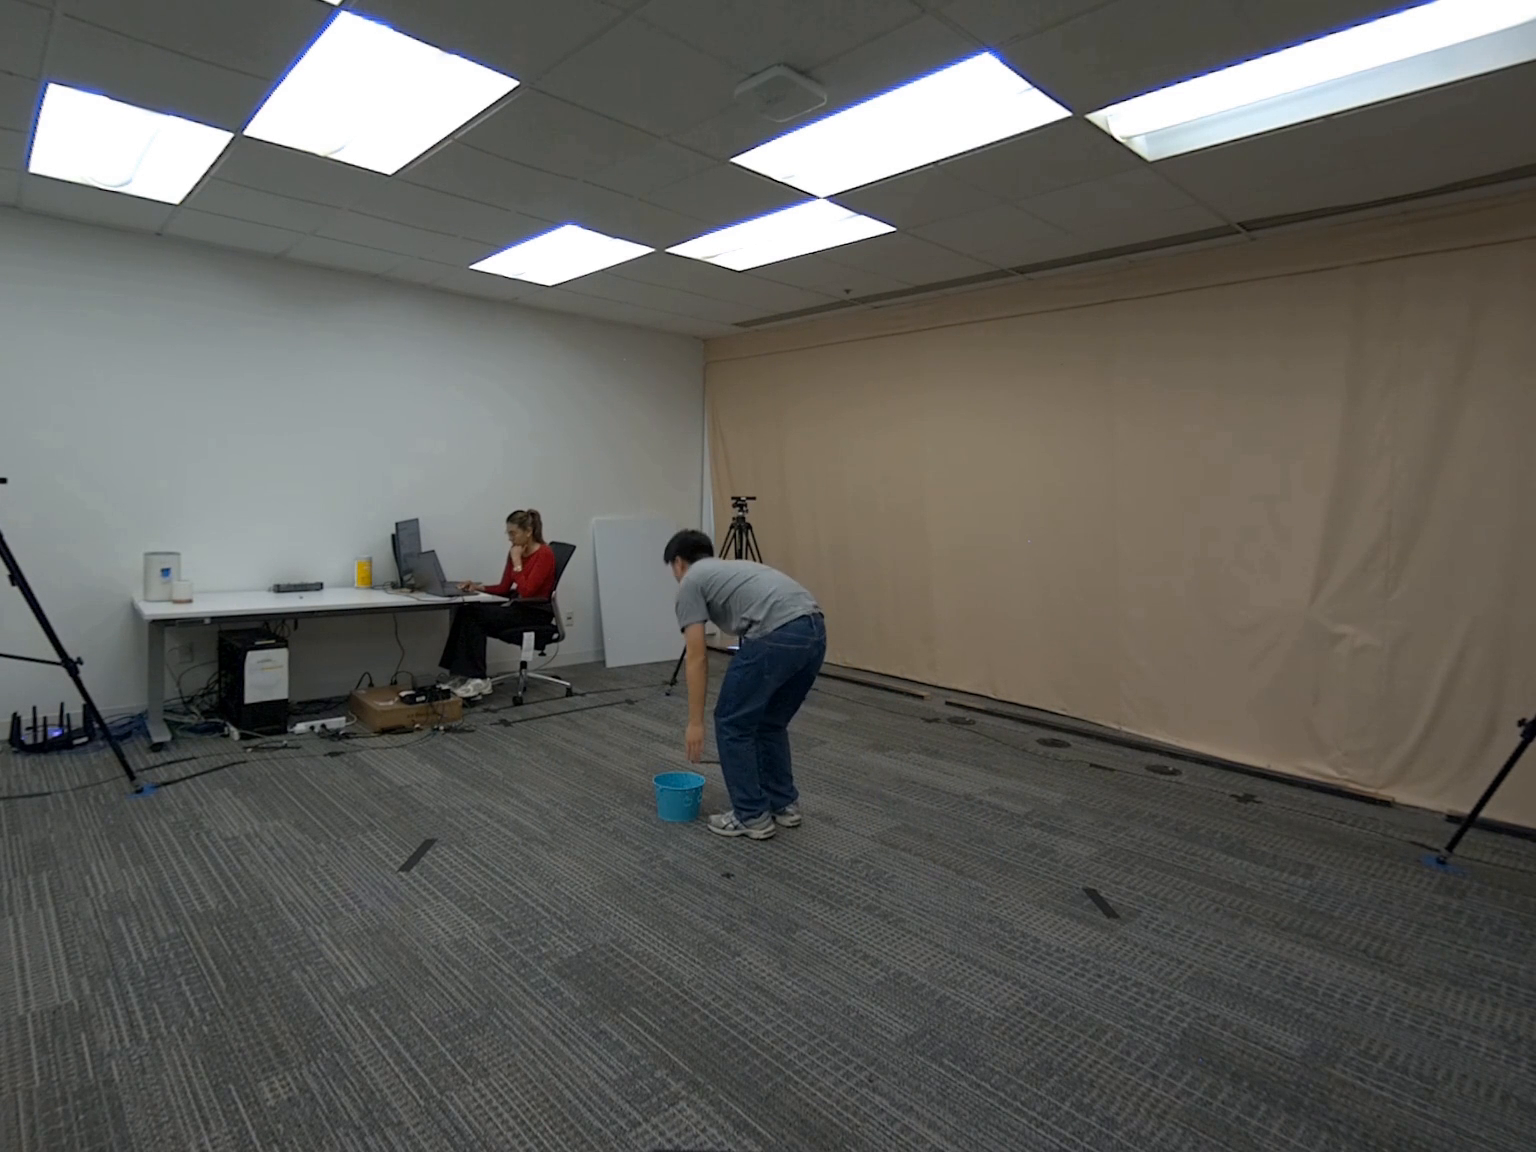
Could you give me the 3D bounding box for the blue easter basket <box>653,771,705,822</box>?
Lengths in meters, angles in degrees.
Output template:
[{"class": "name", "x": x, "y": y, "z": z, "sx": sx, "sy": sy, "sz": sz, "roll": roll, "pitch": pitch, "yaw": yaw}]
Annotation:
[{"class": "blue easter basket", "x": -0.395, "y": 0.964, "z": 3.704, "sx": 0.243, "sy": 0.155, "sz": 0.244, "roll": 1, "pitch": 5, "yaw": -1}]
